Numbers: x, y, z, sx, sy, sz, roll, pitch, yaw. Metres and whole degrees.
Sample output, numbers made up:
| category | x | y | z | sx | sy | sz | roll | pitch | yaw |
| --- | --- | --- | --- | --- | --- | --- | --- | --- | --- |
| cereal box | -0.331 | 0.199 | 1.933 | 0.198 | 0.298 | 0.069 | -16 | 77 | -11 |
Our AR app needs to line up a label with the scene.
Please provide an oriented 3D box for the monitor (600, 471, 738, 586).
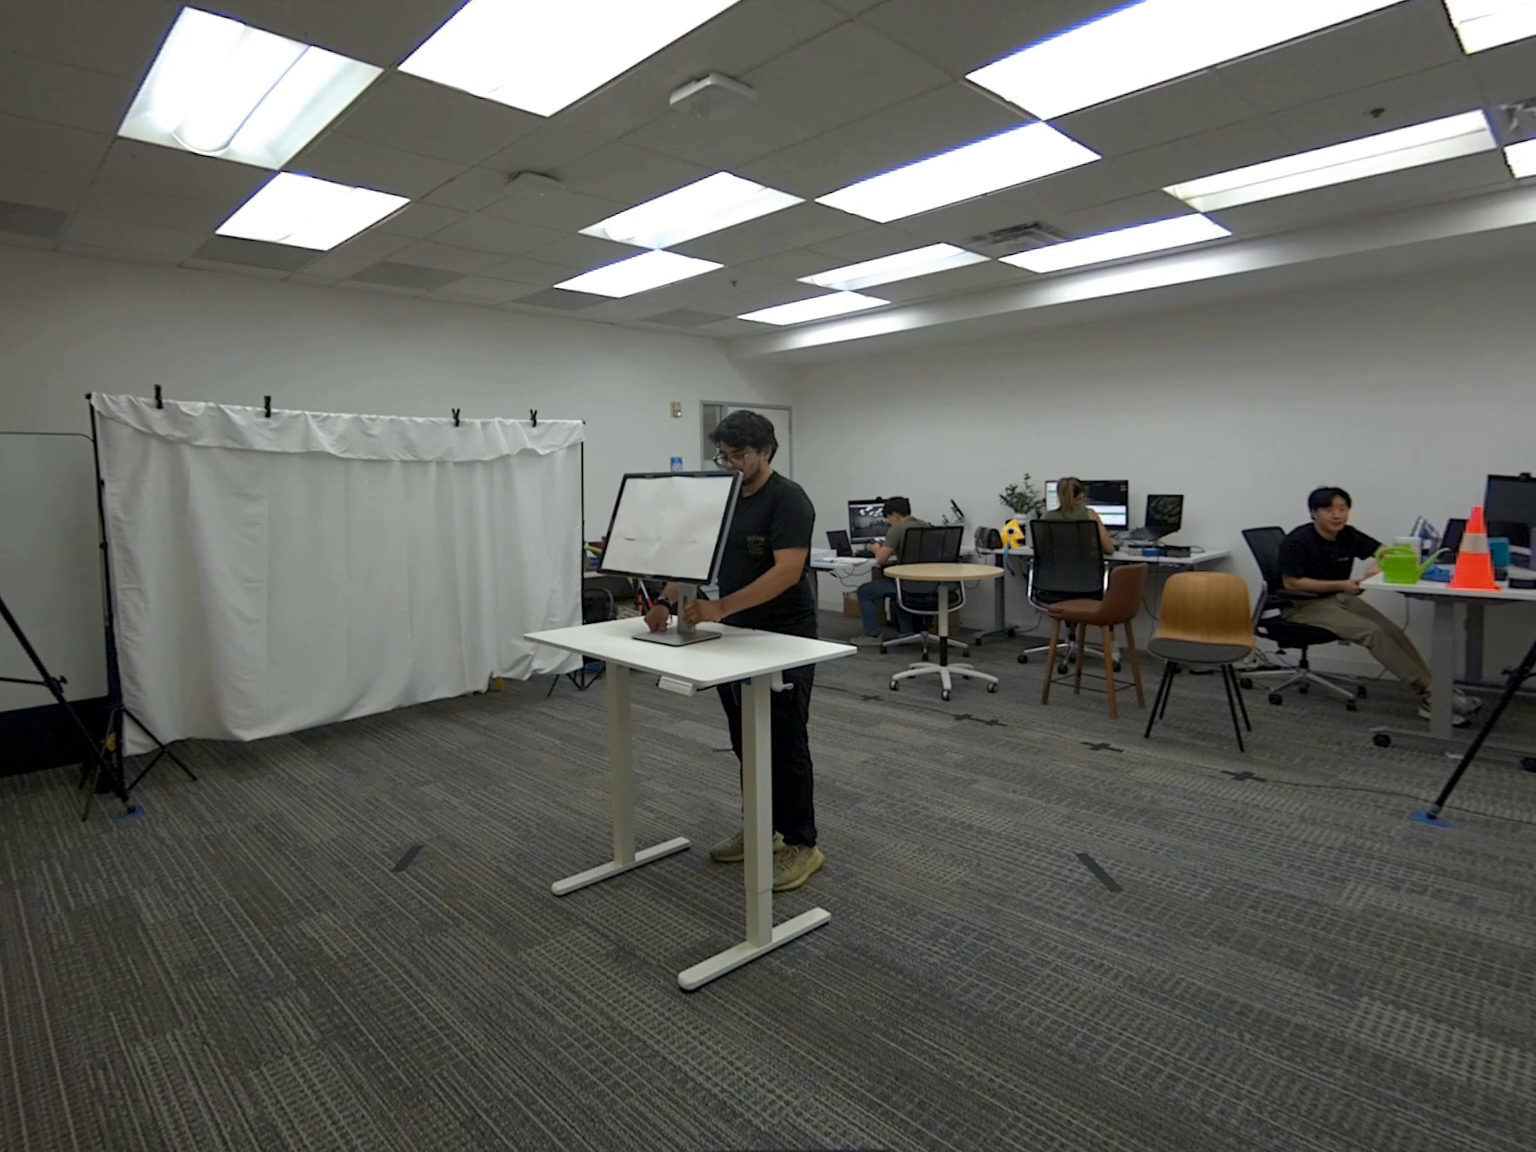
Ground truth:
| category | x | y | z | sx | sy | sz | roll | pitch | yaw |
| --- | --- | --- | --- | --- | --- | --- | --- | --- | --- |
| monitor | -0.289 | -0.063 | 2.799 | 0.582 | 0.556 | 0.203 | 3 | -7 | 42 |
